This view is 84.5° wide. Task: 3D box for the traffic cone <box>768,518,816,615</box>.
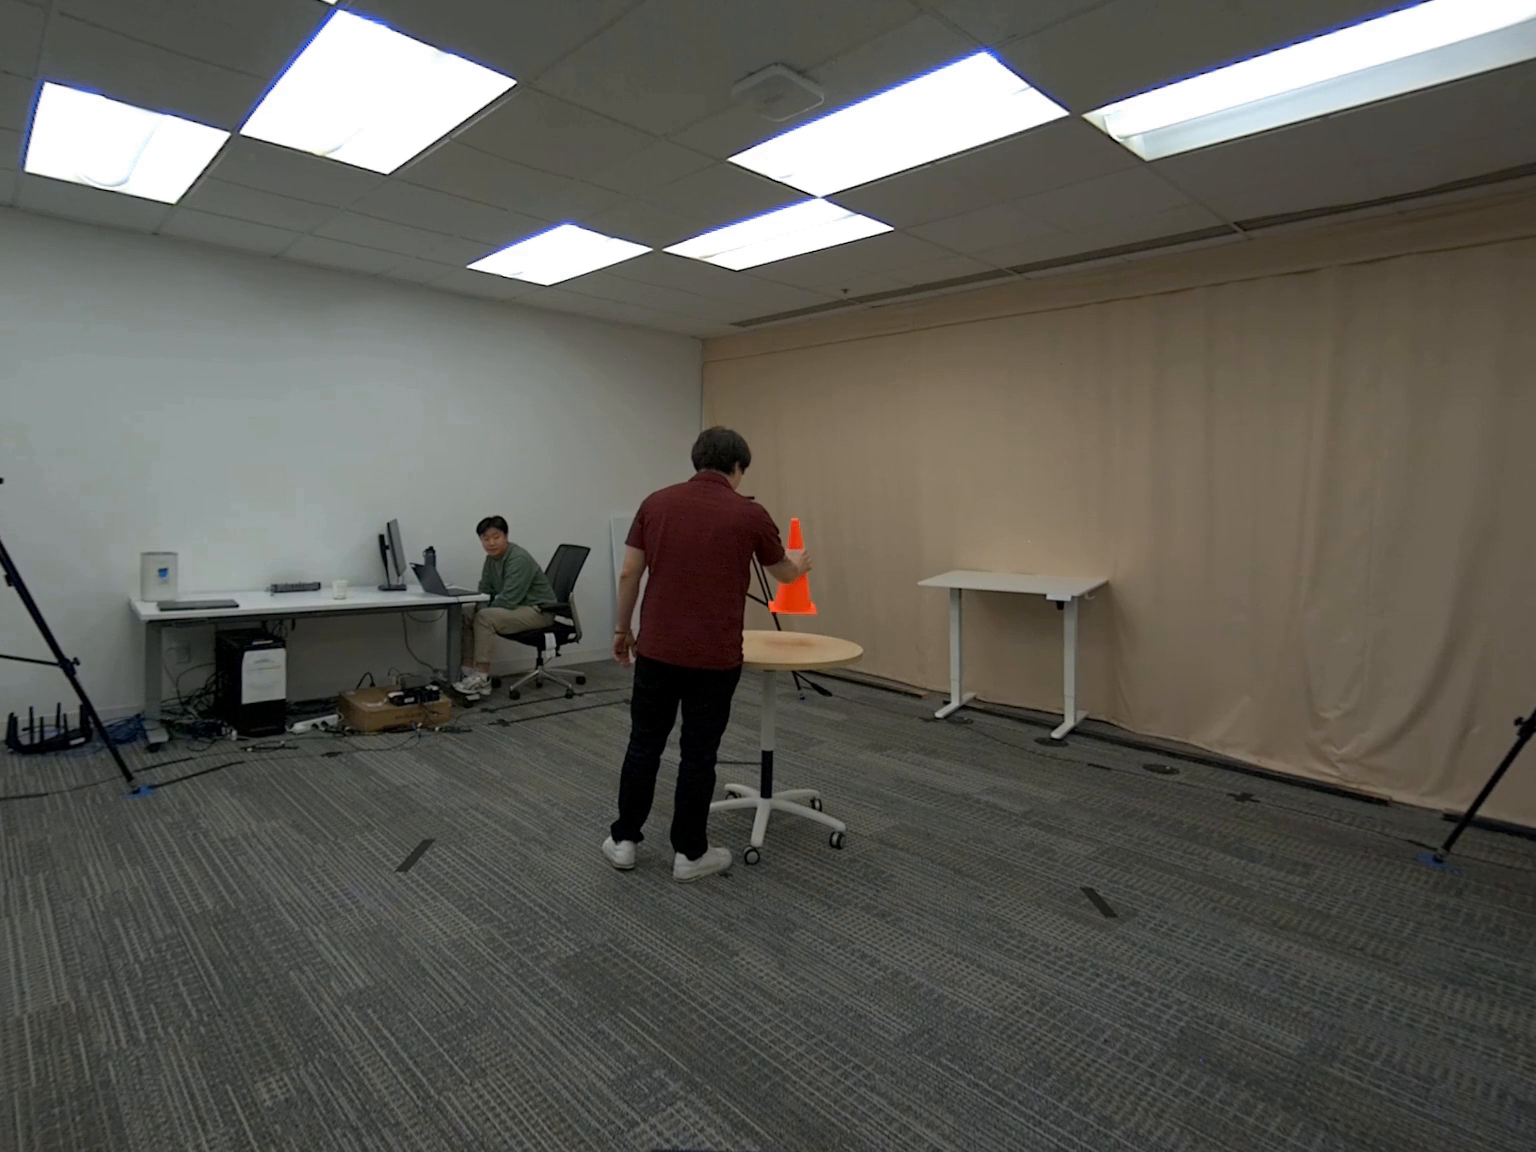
[{"bbox_3d":[0.104,-0.054,3.540,0.203,0.380,0.206,0,11,0],"label":"traffic cone"}]
